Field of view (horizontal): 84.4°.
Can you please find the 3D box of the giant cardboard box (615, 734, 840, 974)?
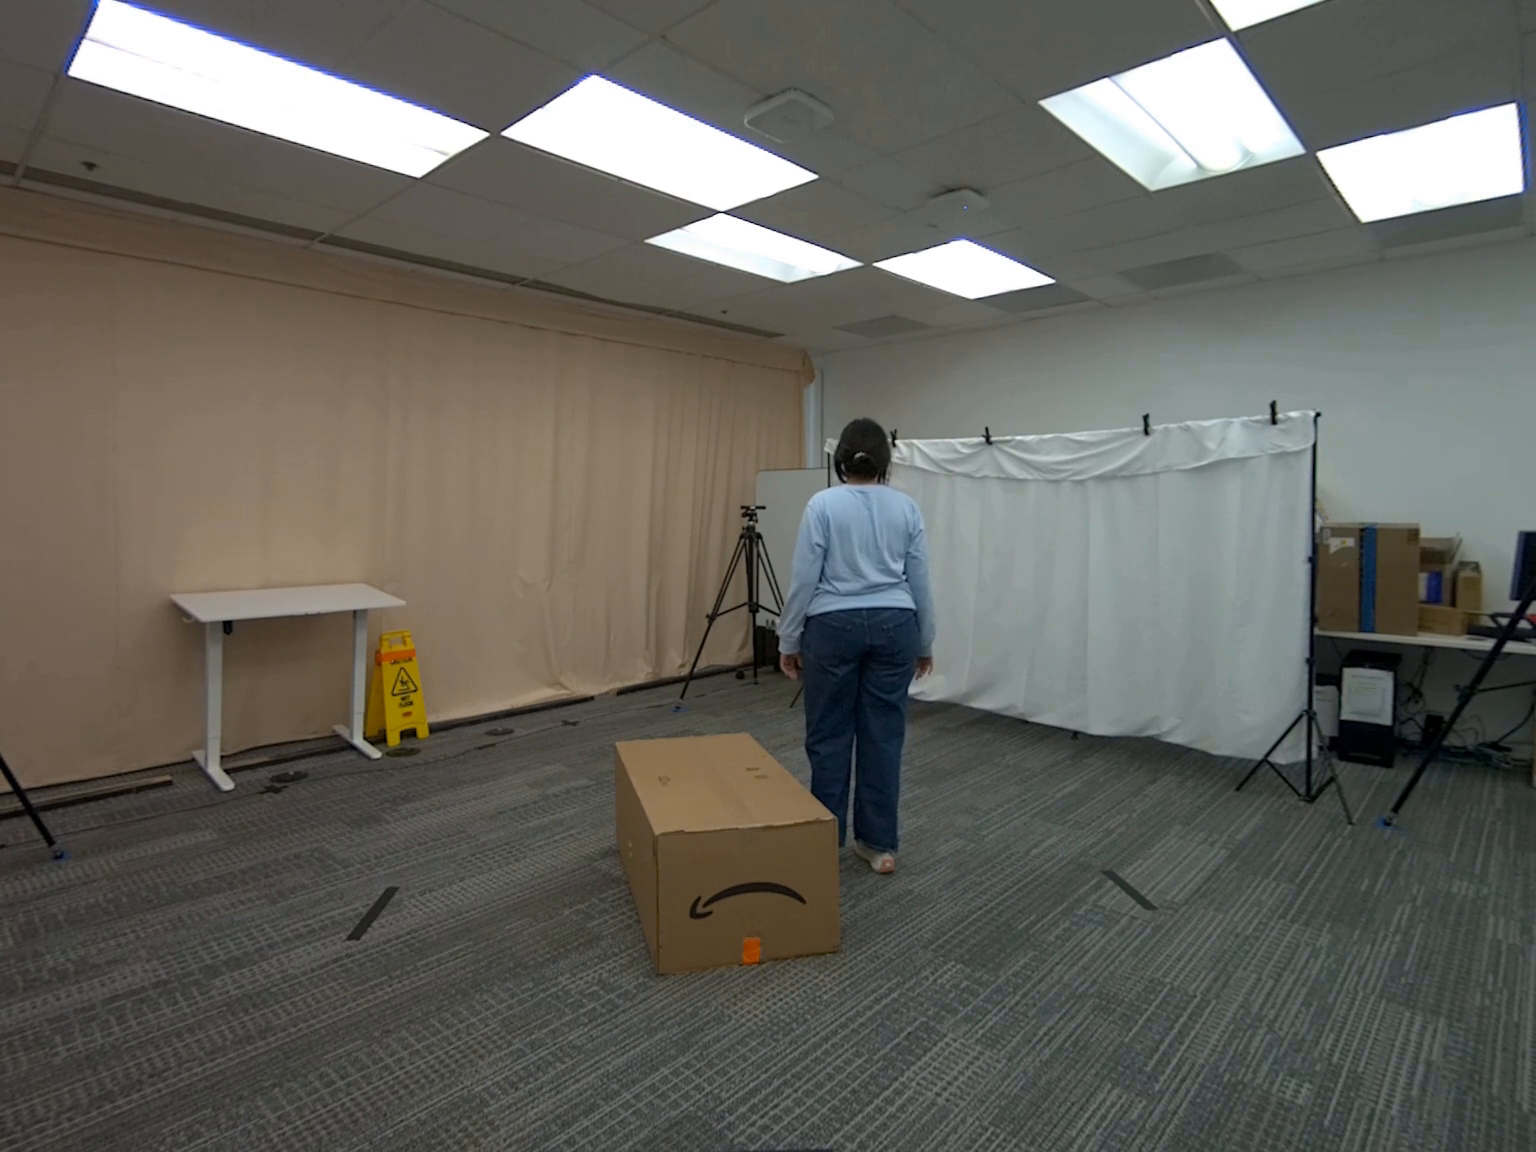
[{"bbox_3d":[-0.203,0.926,3.040,0.569,0.425,1.044,-1,5,-16],"label":"giant cardboard box"}]
